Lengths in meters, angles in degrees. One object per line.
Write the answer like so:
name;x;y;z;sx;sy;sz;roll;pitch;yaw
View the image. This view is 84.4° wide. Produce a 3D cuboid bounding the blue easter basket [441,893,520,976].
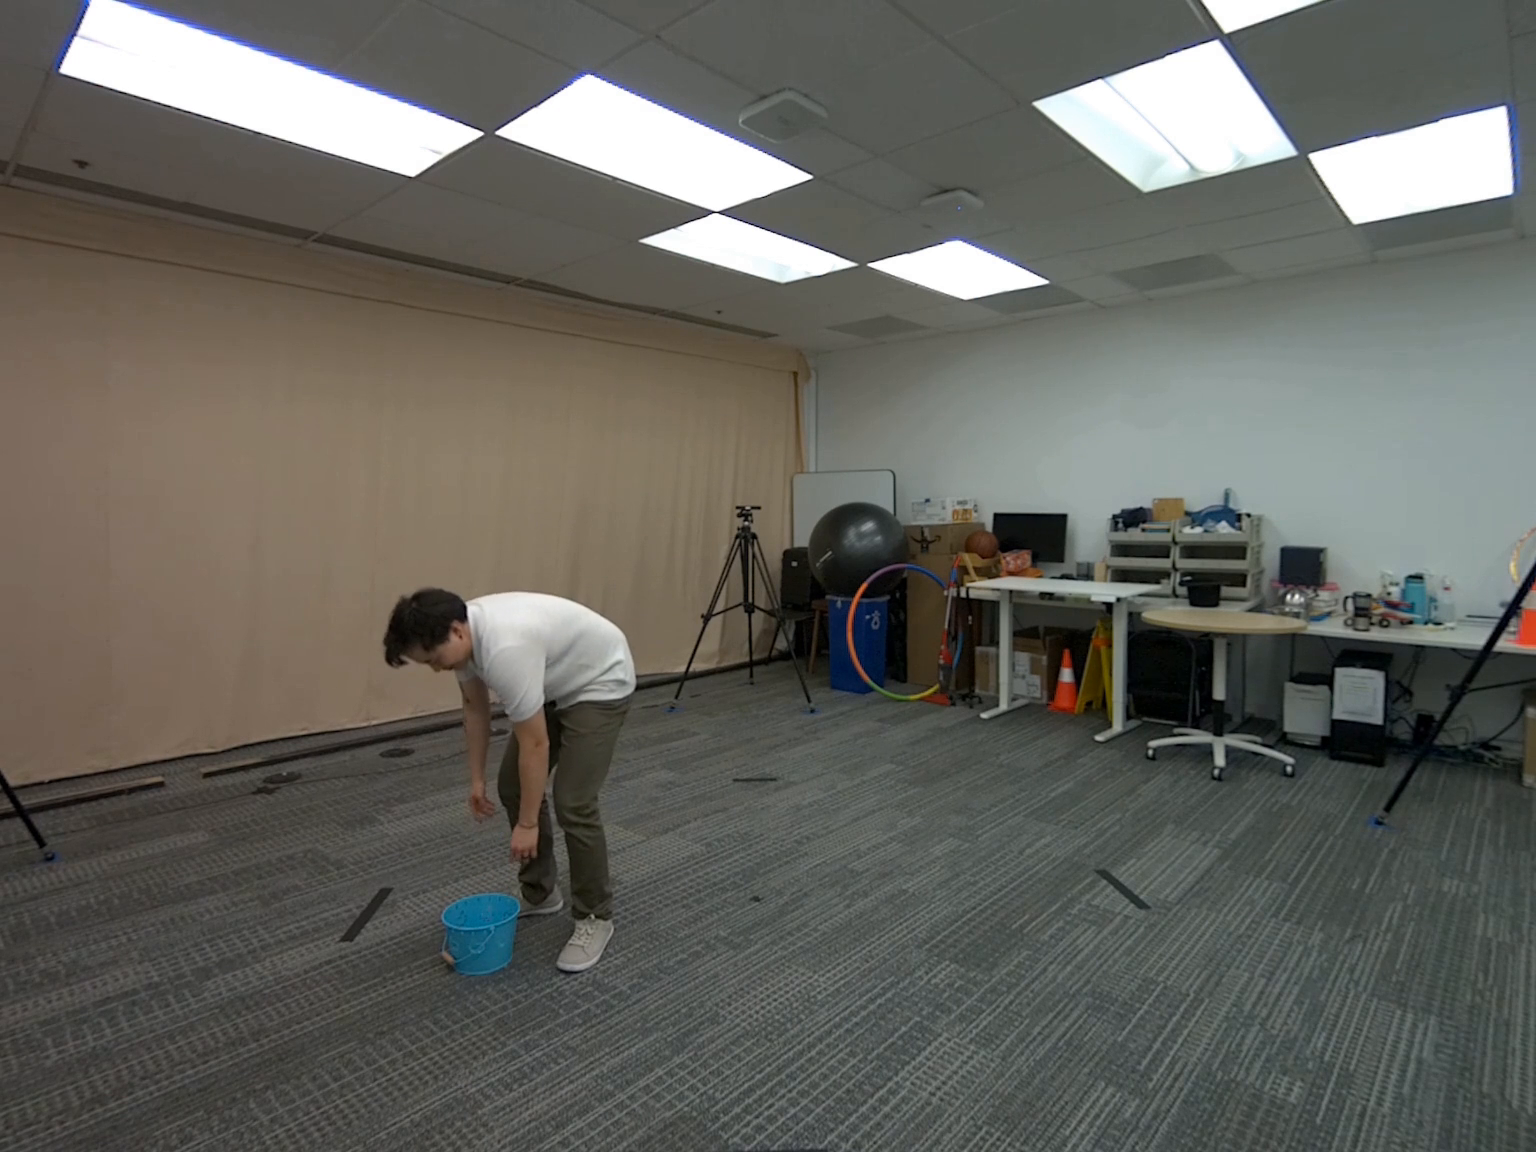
blue easter basket;-0.881;1.102;2.601;0.243;0.155;0.244;0;4;-2
